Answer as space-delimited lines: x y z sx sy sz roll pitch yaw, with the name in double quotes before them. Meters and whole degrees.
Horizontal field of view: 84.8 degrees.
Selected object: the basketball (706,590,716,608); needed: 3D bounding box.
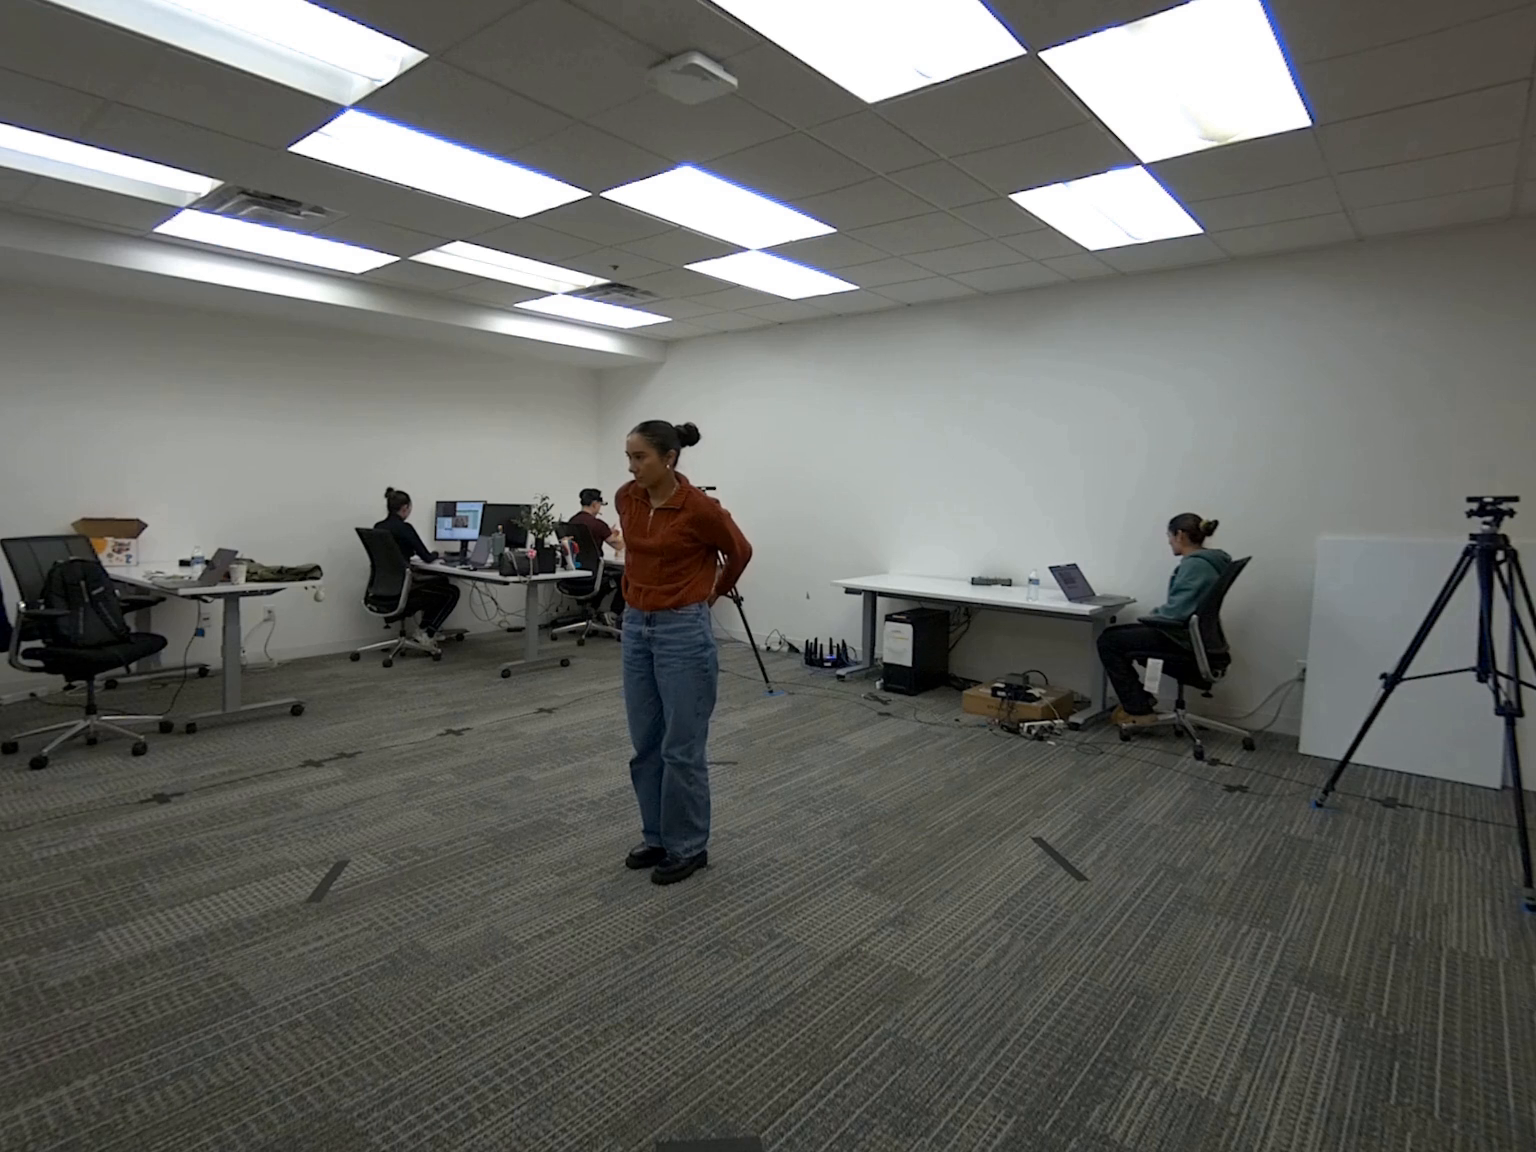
"basketball" -0.357 0.054 3.292 0.235 0.235 0.237 1 4 -2
